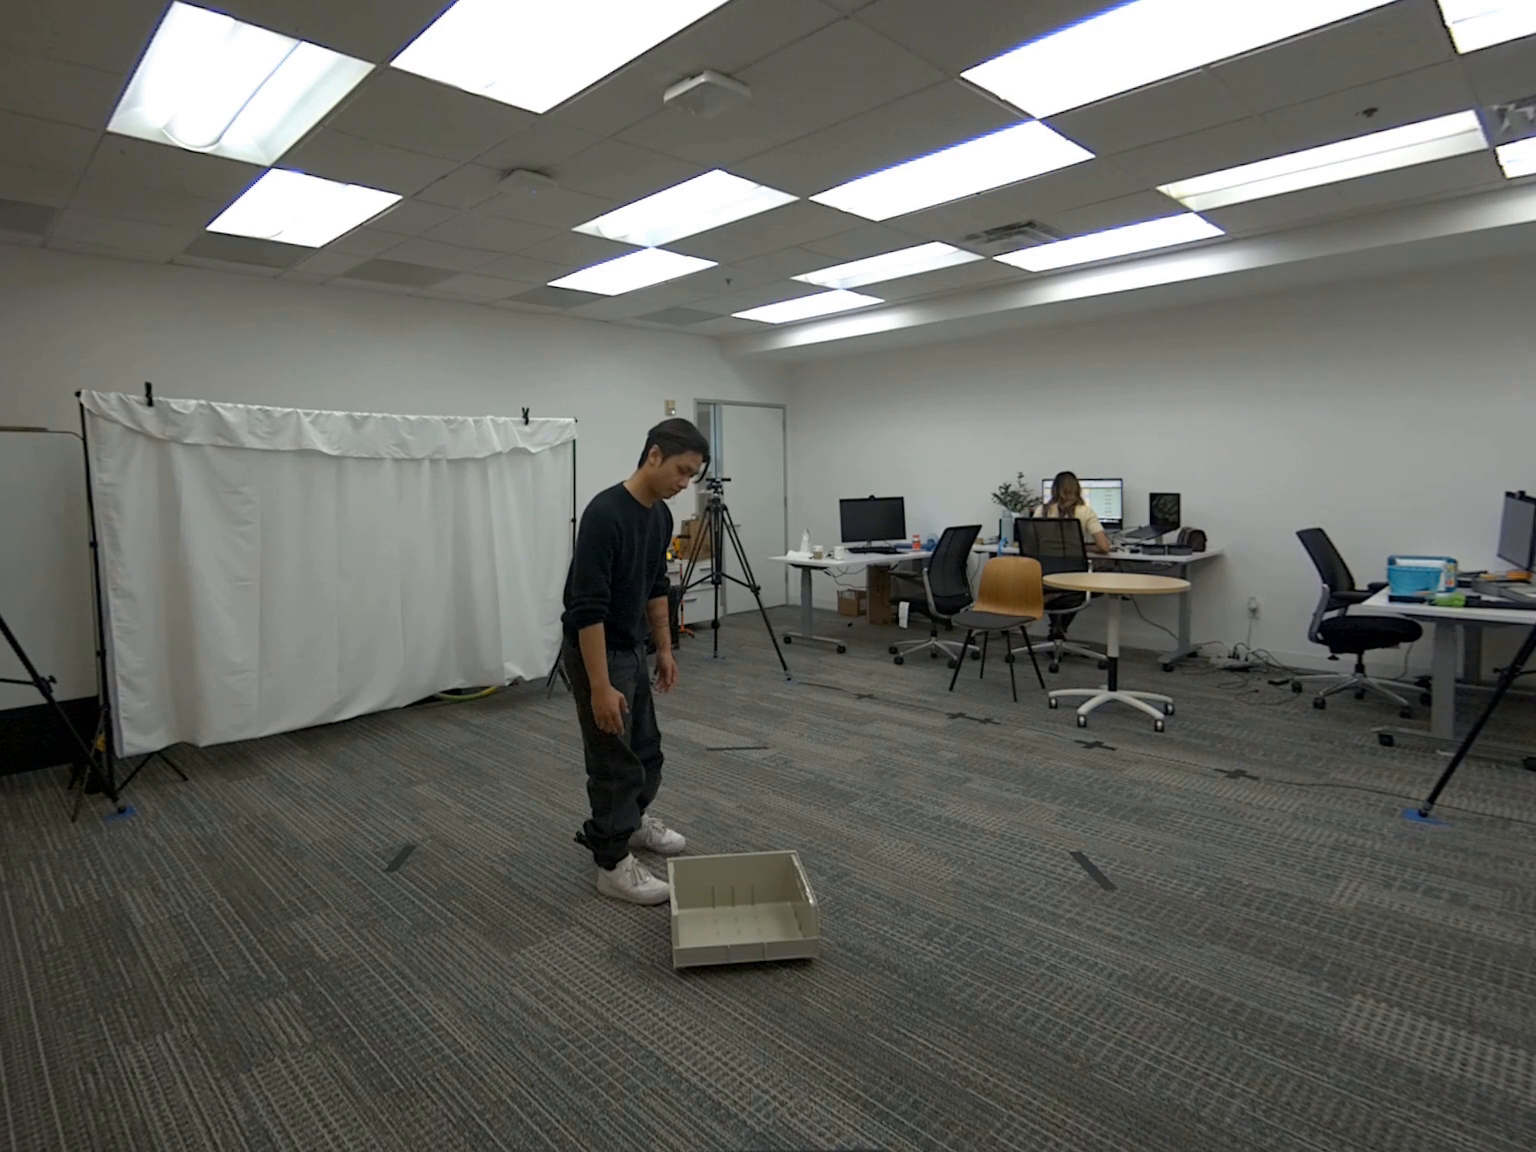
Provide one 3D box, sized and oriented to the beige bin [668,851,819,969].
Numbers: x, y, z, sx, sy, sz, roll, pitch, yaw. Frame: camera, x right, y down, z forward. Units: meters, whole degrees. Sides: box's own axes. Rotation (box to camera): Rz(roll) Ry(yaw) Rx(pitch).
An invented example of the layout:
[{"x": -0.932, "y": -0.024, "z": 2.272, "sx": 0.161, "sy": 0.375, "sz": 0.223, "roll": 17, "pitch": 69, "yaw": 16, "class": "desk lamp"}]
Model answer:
[{"x": -0.082, "y": 1.021, "z": 2.585, "sx": 0.420, "sy": 0.188, "sz": 0.381, "roll": -2, "pitch": 6, "yaw": -6, "class": "beige bin"}]
